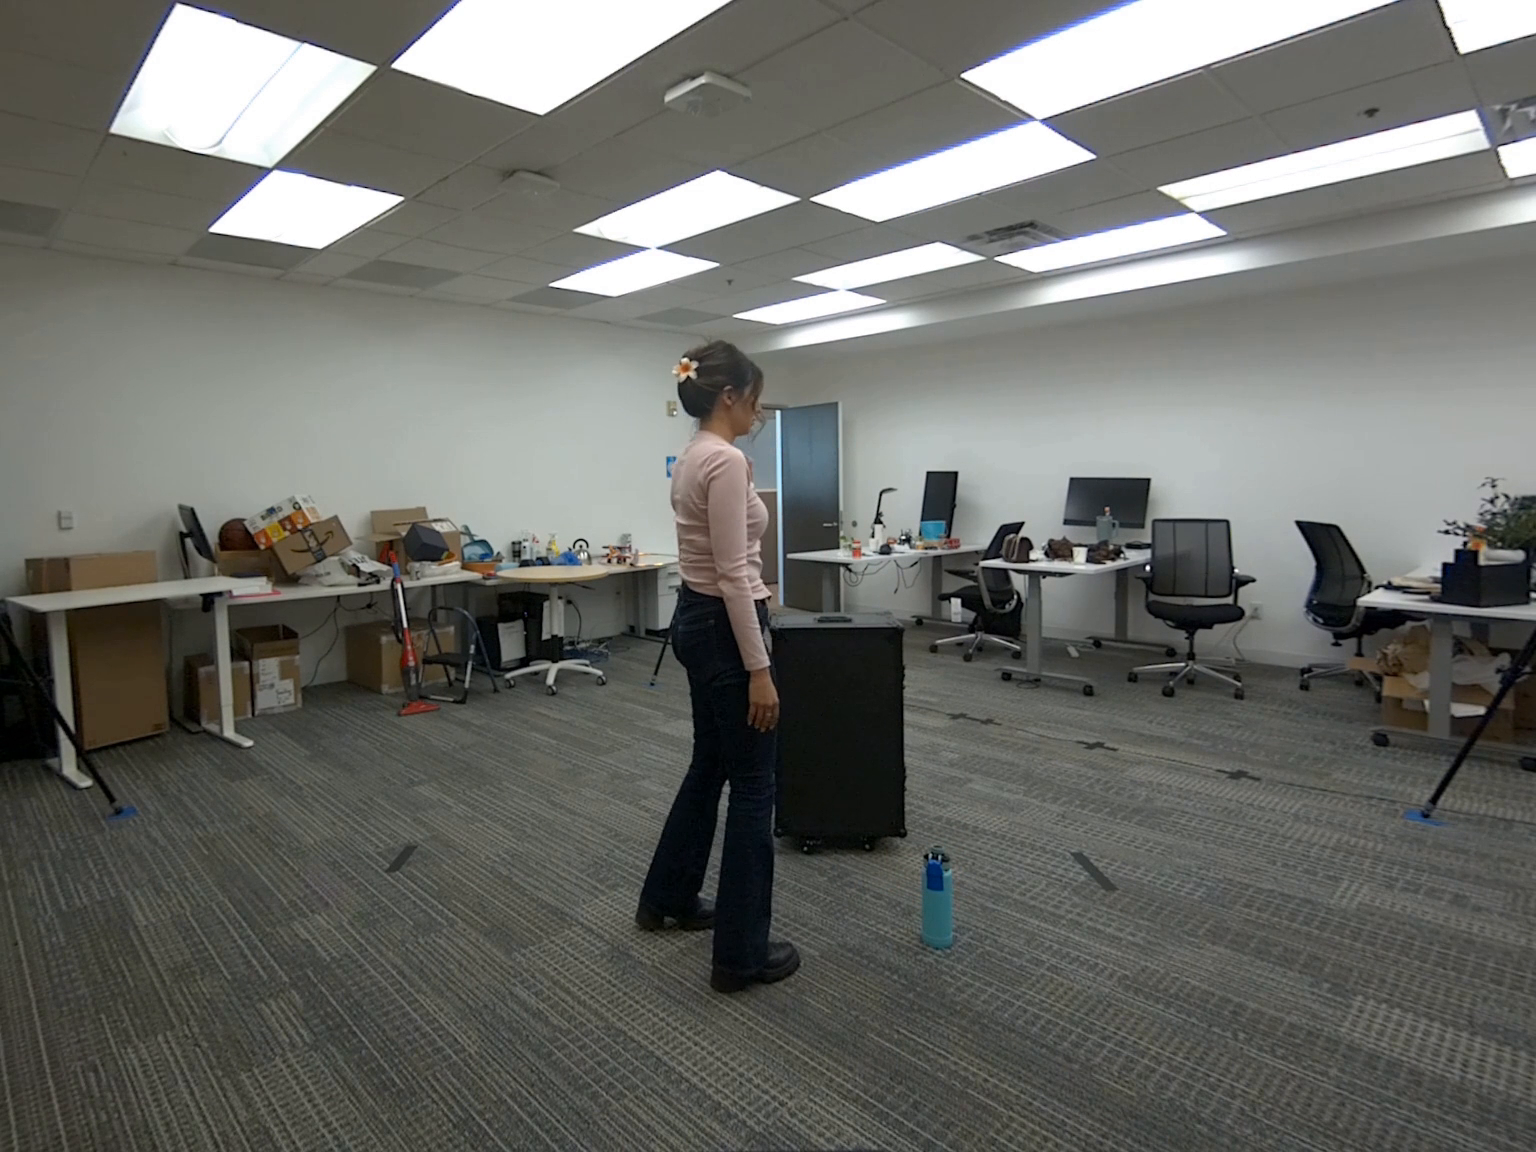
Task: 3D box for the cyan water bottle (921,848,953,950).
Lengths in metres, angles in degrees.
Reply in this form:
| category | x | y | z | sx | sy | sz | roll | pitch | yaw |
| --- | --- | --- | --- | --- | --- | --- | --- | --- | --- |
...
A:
| category | x | y | z | sx | sy | sz | roll | pitch | yaw |
| --- | --- | --- | --- | --- | --- | --- | --- | --- | --- |
| cyan water bottle | 0.510 | 0.961 | 2.563 | 0.092 | 0.282 | 0.093 | -1 | 6 | -2 |
